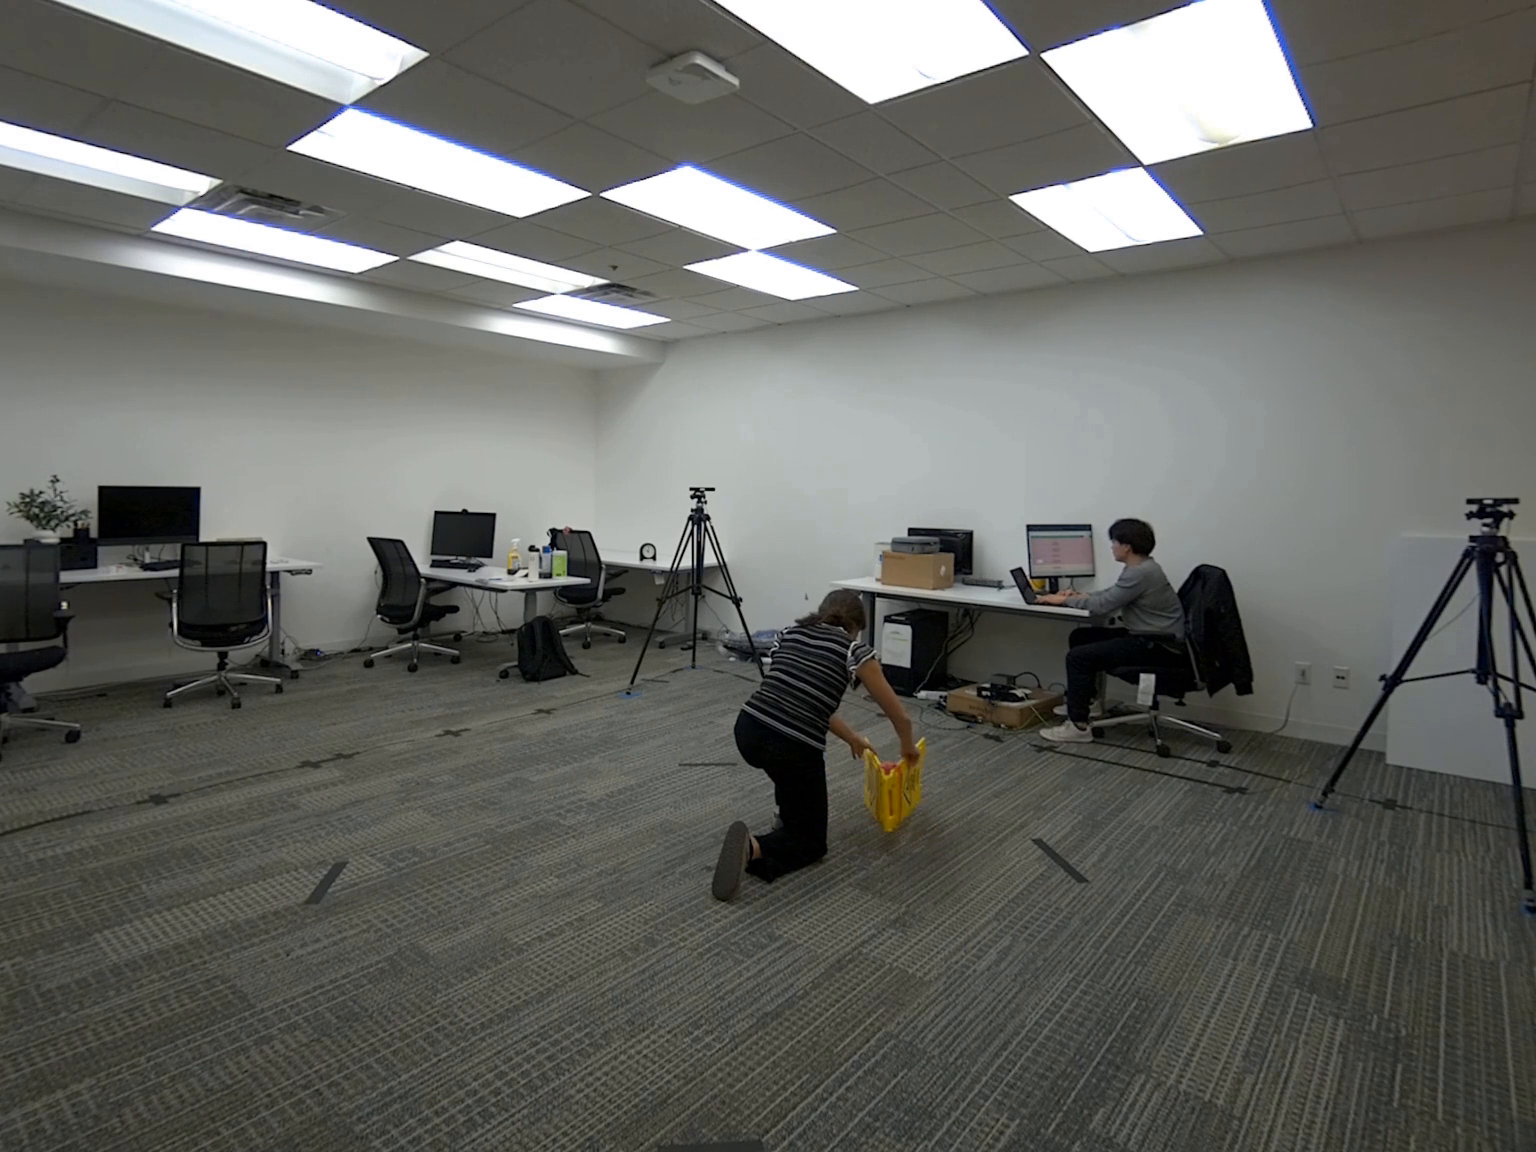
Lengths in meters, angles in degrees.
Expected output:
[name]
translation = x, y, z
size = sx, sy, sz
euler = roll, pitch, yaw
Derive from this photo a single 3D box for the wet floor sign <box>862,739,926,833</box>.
[wet floor sign]
translation = 0.486, 0.854, 3.473
size = 0.293, 0.283, 0.636
euler = -1, -1, 11
